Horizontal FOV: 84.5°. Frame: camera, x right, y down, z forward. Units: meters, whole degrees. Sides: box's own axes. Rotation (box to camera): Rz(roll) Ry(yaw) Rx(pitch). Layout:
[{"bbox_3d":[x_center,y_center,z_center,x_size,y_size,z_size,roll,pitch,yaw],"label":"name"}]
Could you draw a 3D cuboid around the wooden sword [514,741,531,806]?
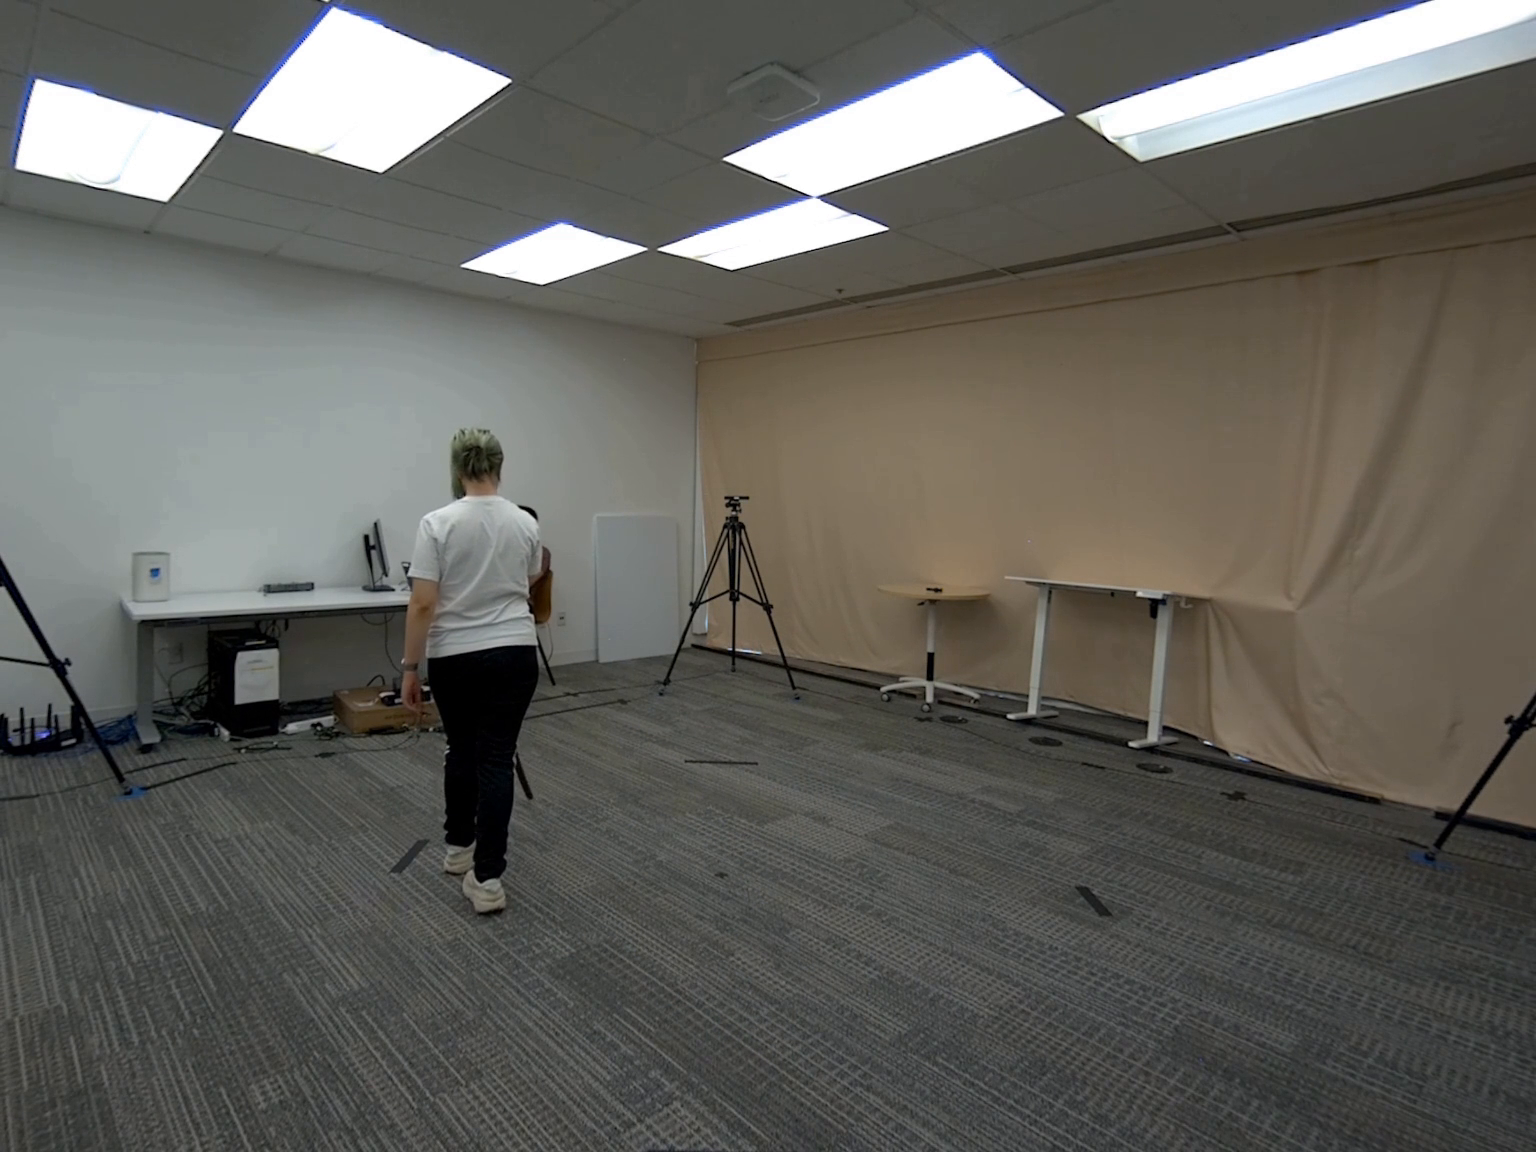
[{"bbox_3d":[-1.071,0.662,3.498,0.052,1.004,0.024,18,45,12],"label":"wooden sword"}]
